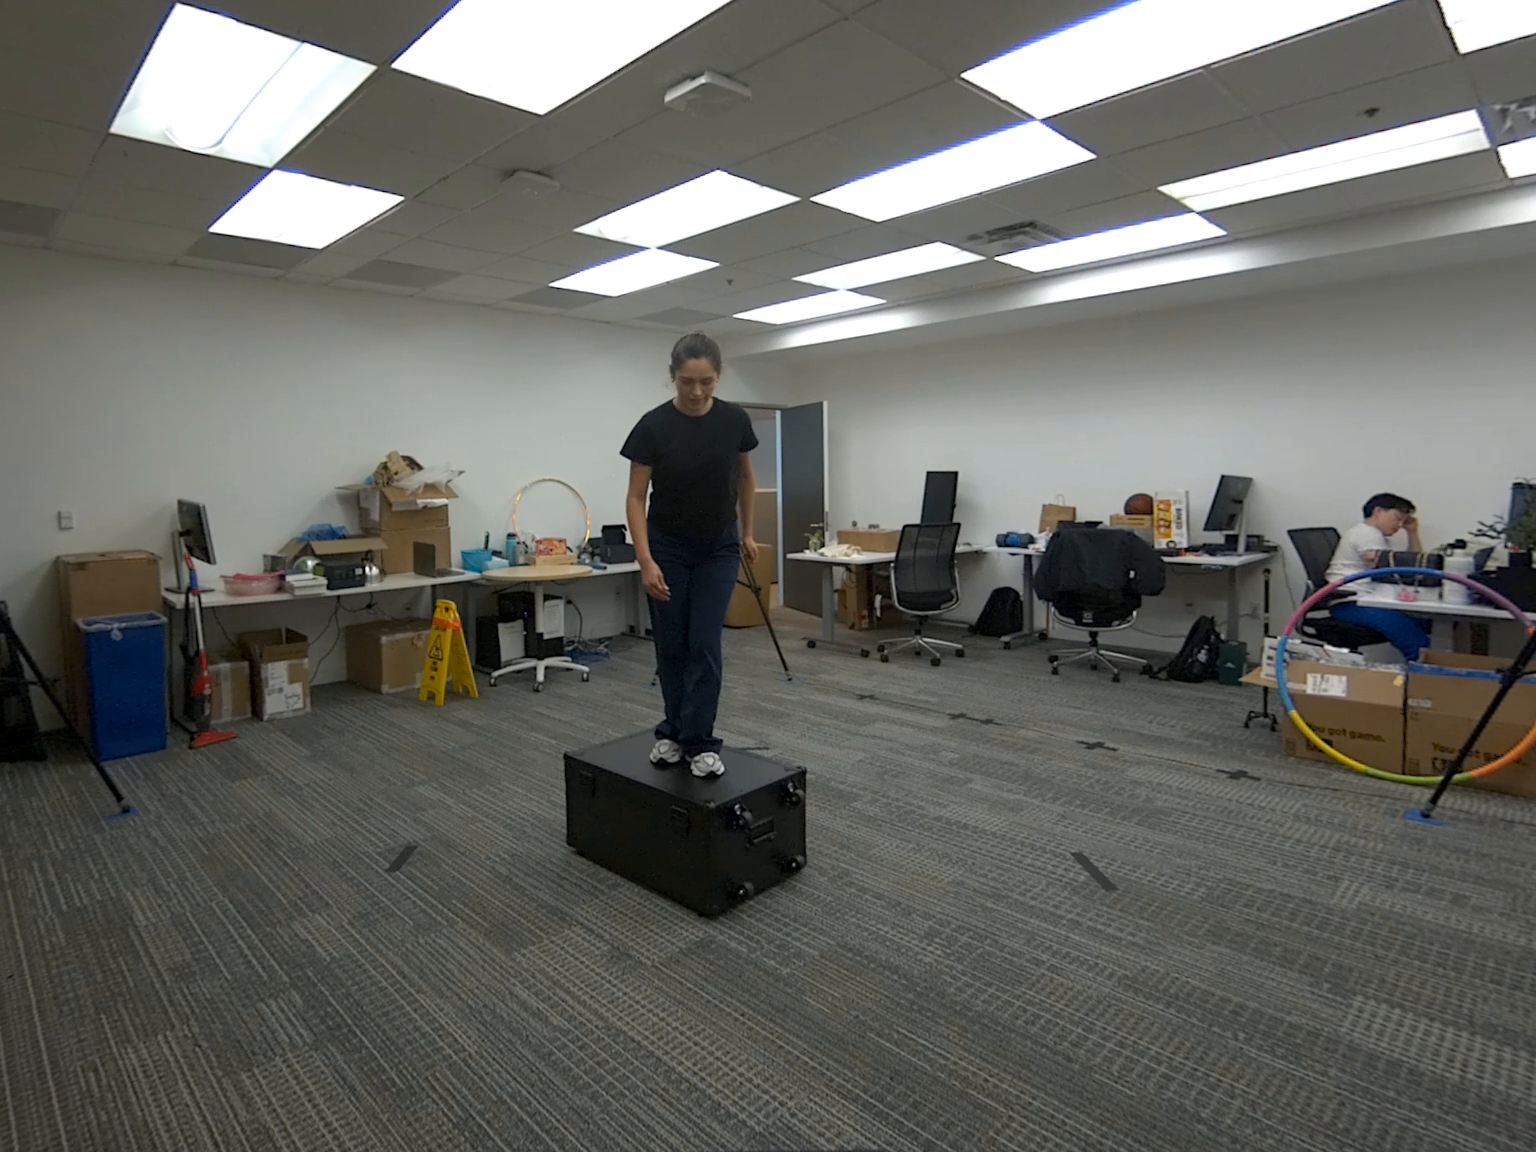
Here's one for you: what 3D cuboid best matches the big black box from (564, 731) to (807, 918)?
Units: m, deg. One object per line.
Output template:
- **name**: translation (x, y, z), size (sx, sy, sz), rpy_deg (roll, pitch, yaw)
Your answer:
- **big black box**: translation (-0.292, 0.860, 3.108), size (0.888, 0.395, 0.508), rpy_deg (4, 7, 42)
